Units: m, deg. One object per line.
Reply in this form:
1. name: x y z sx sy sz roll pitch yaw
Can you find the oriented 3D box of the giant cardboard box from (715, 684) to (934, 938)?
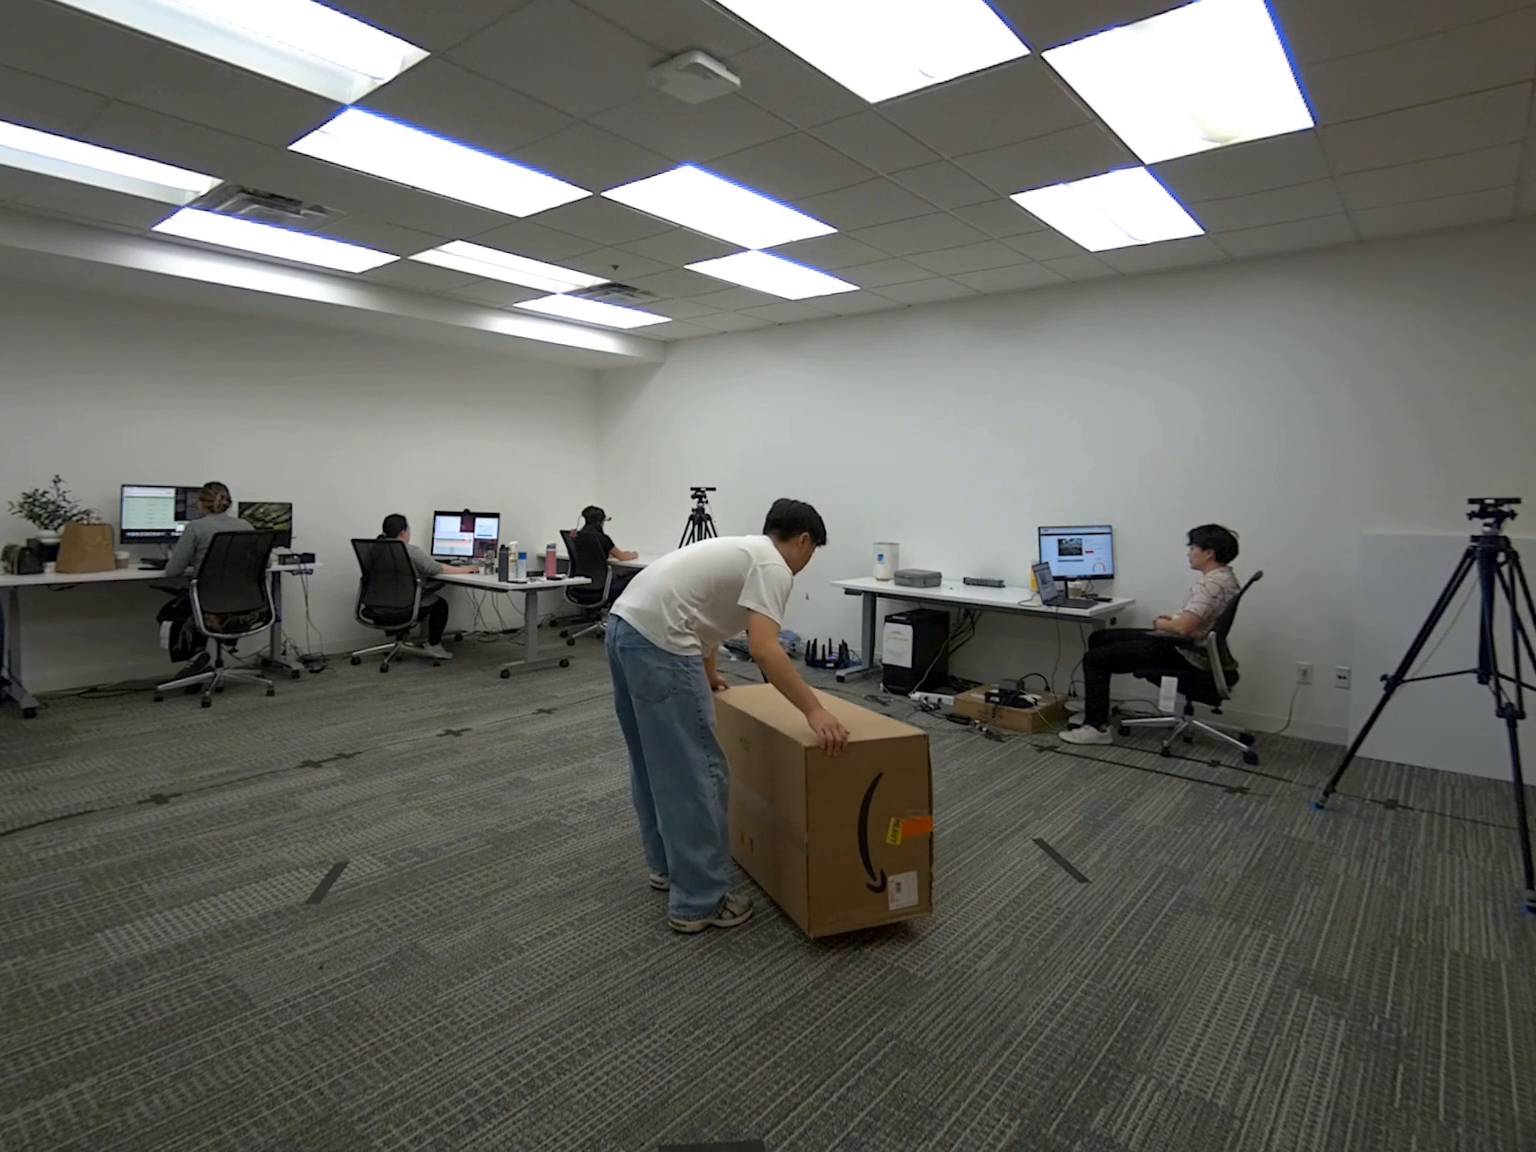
1. giant cardboard box: 0.123 0.749 3.066 0.418 0.577 1.048 -2 2 -22
